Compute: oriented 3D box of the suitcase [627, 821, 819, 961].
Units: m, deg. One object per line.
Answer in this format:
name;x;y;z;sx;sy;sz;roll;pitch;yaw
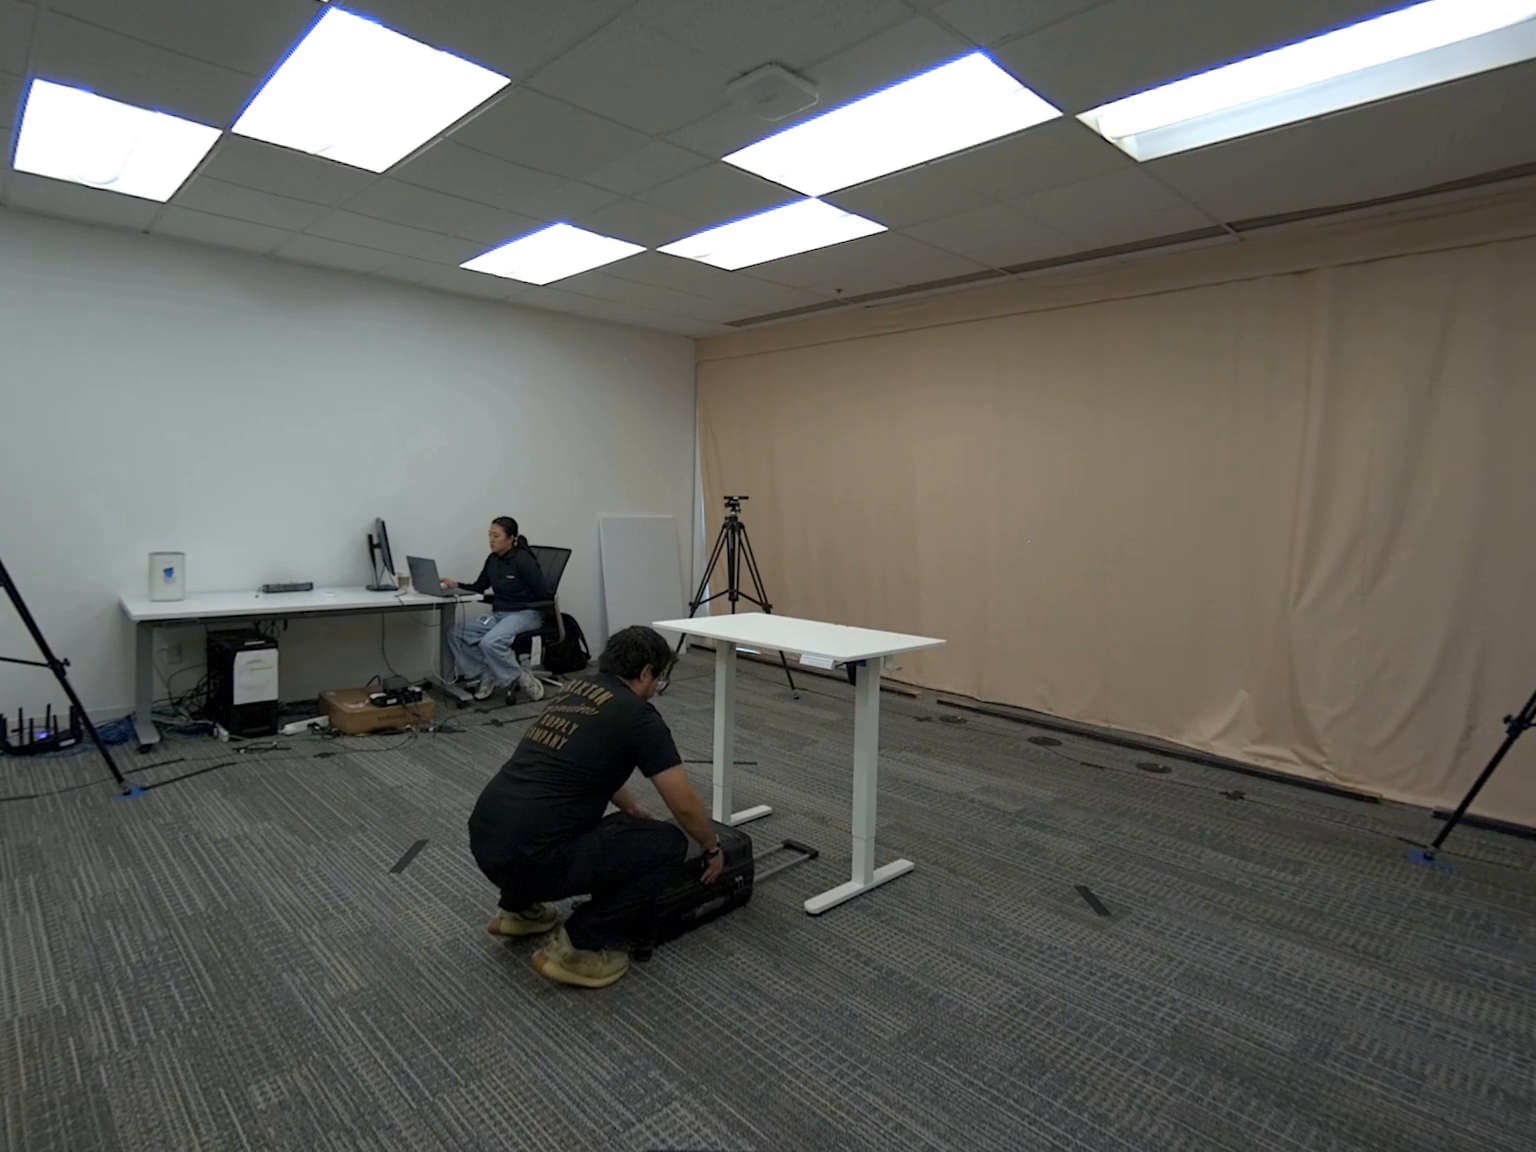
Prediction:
suitcase;-0.186;0.987;2.972;0.393;0.256;0.957;2;5;43
